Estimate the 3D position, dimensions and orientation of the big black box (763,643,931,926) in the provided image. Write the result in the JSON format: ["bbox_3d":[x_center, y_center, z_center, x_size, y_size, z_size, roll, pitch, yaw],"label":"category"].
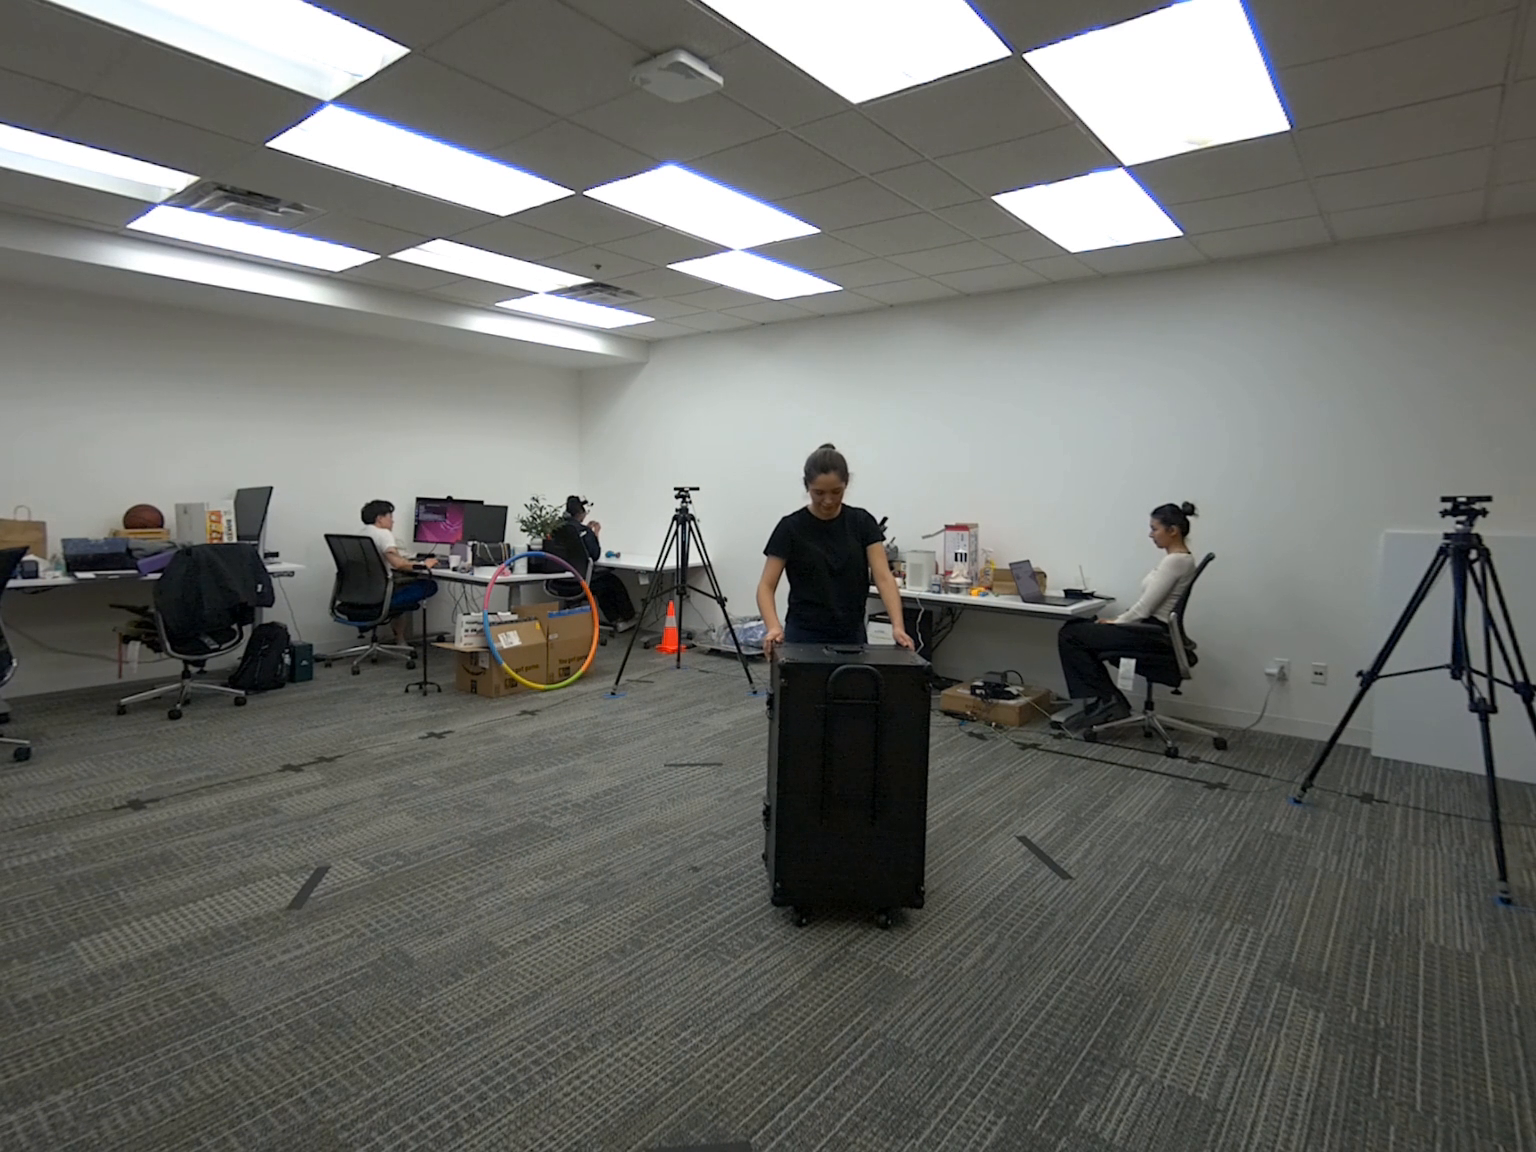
[{"bbox_3d":[0.268,0.676,2.845,0.520,0.859,0.398,2,3,-2],"label":"big black box"}]
